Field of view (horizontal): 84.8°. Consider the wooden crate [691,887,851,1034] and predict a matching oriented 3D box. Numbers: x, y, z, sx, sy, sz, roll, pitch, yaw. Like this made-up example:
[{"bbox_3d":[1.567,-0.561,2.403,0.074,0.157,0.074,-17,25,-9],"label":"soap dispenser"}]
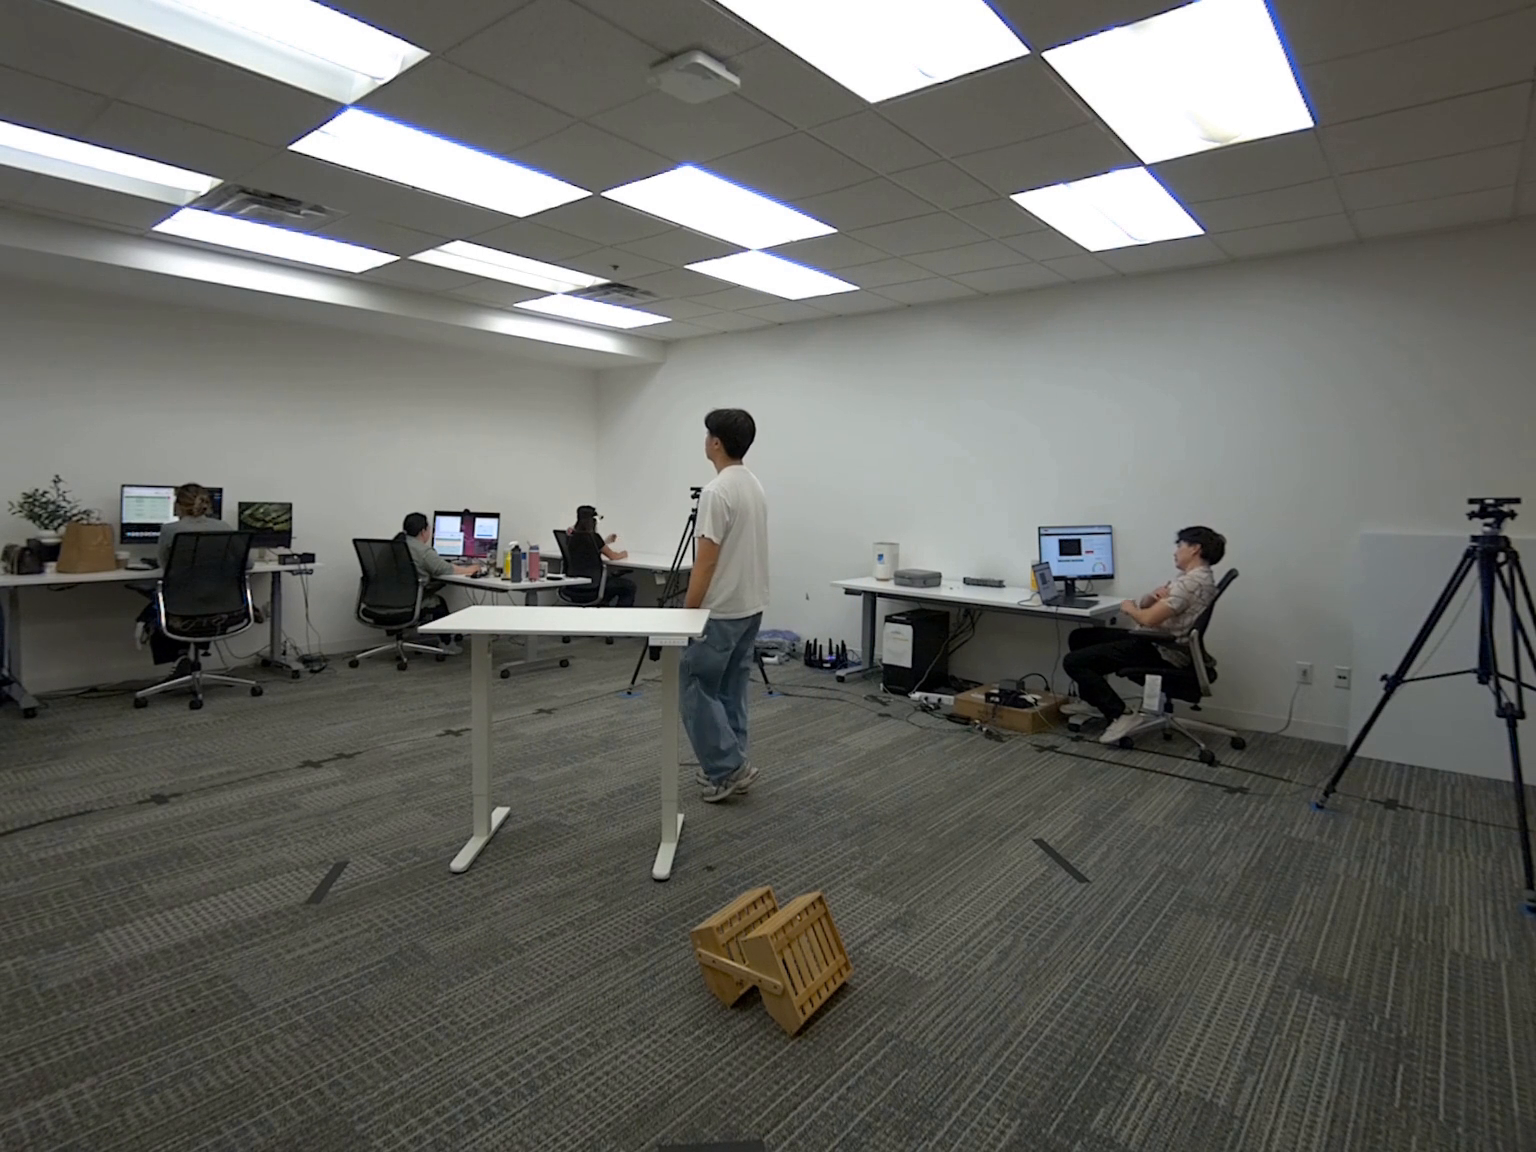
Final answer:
[{"bbox_3d":[0.005,1.055,2.370,0.276,0.307,0.315,-29,-13,31],"label":"wooden crate"}]
